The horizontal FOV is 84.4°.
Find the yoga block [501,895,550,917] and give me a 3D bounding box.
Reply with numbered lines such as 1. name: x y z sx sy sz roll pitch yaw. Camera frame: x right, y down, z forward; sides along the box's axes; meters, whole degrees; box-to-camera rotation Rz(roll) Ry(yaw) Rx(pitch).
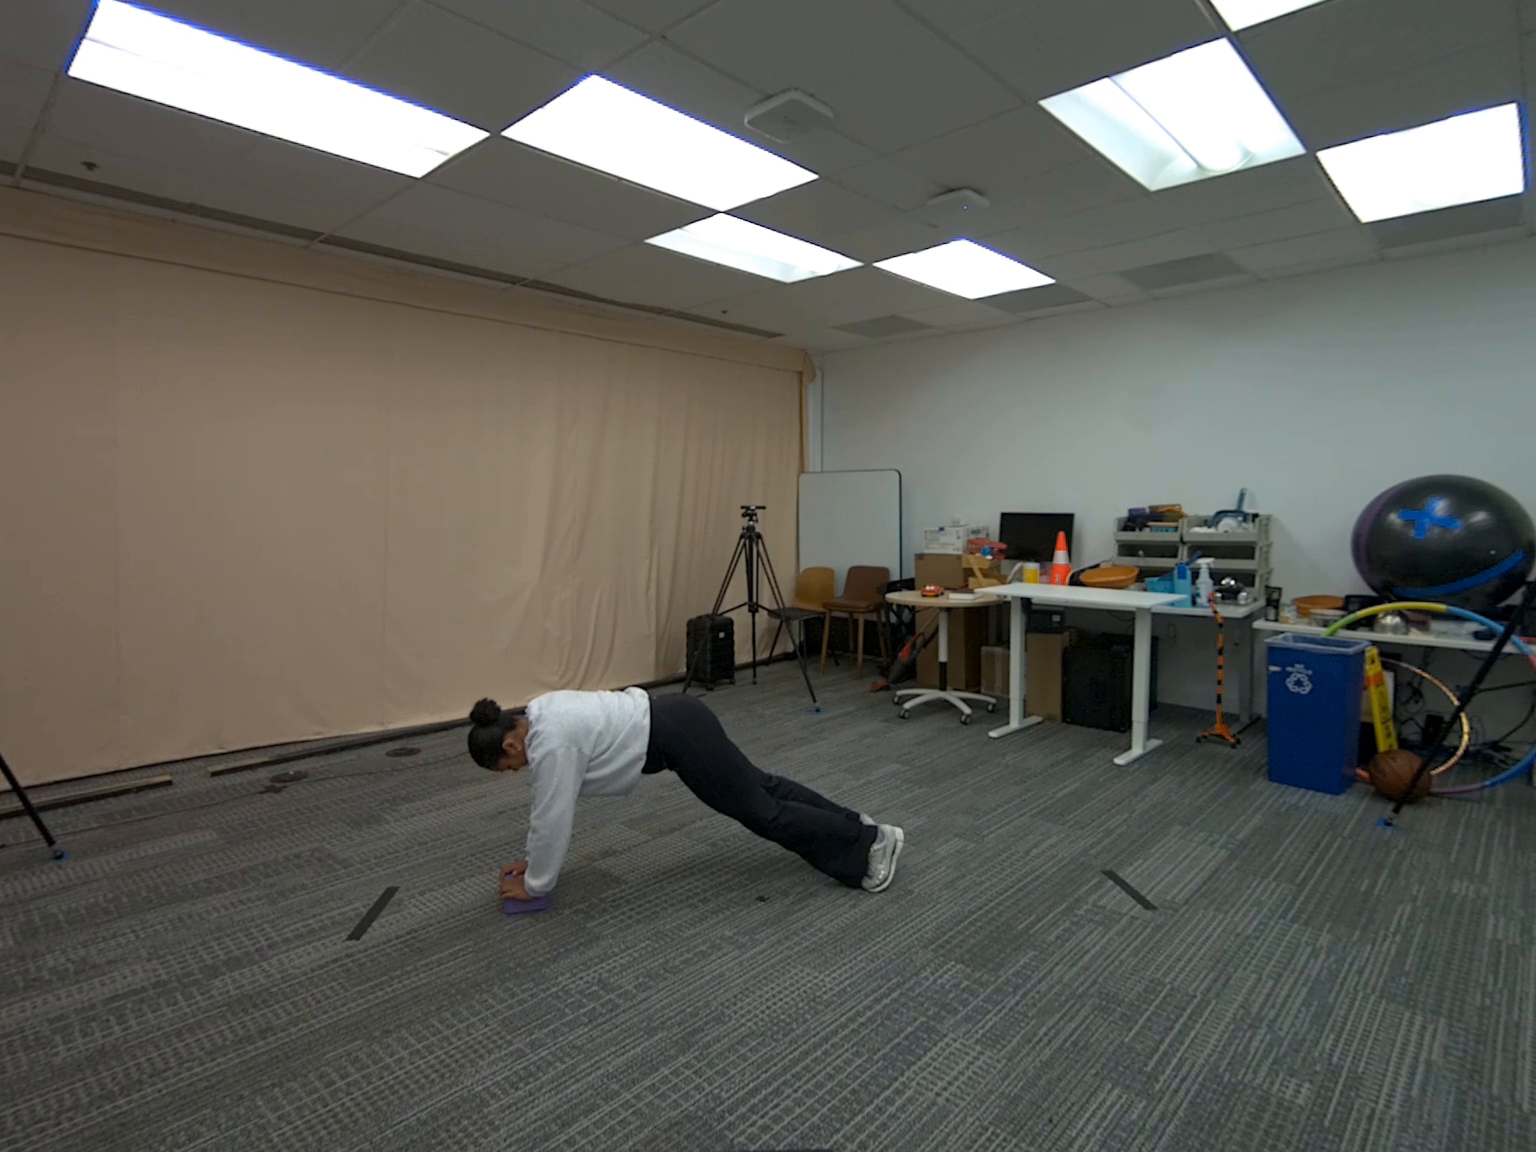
1. yoga block: -0.867 1.122 2.997 0.147 0.076 0.234 -3 7 -16
